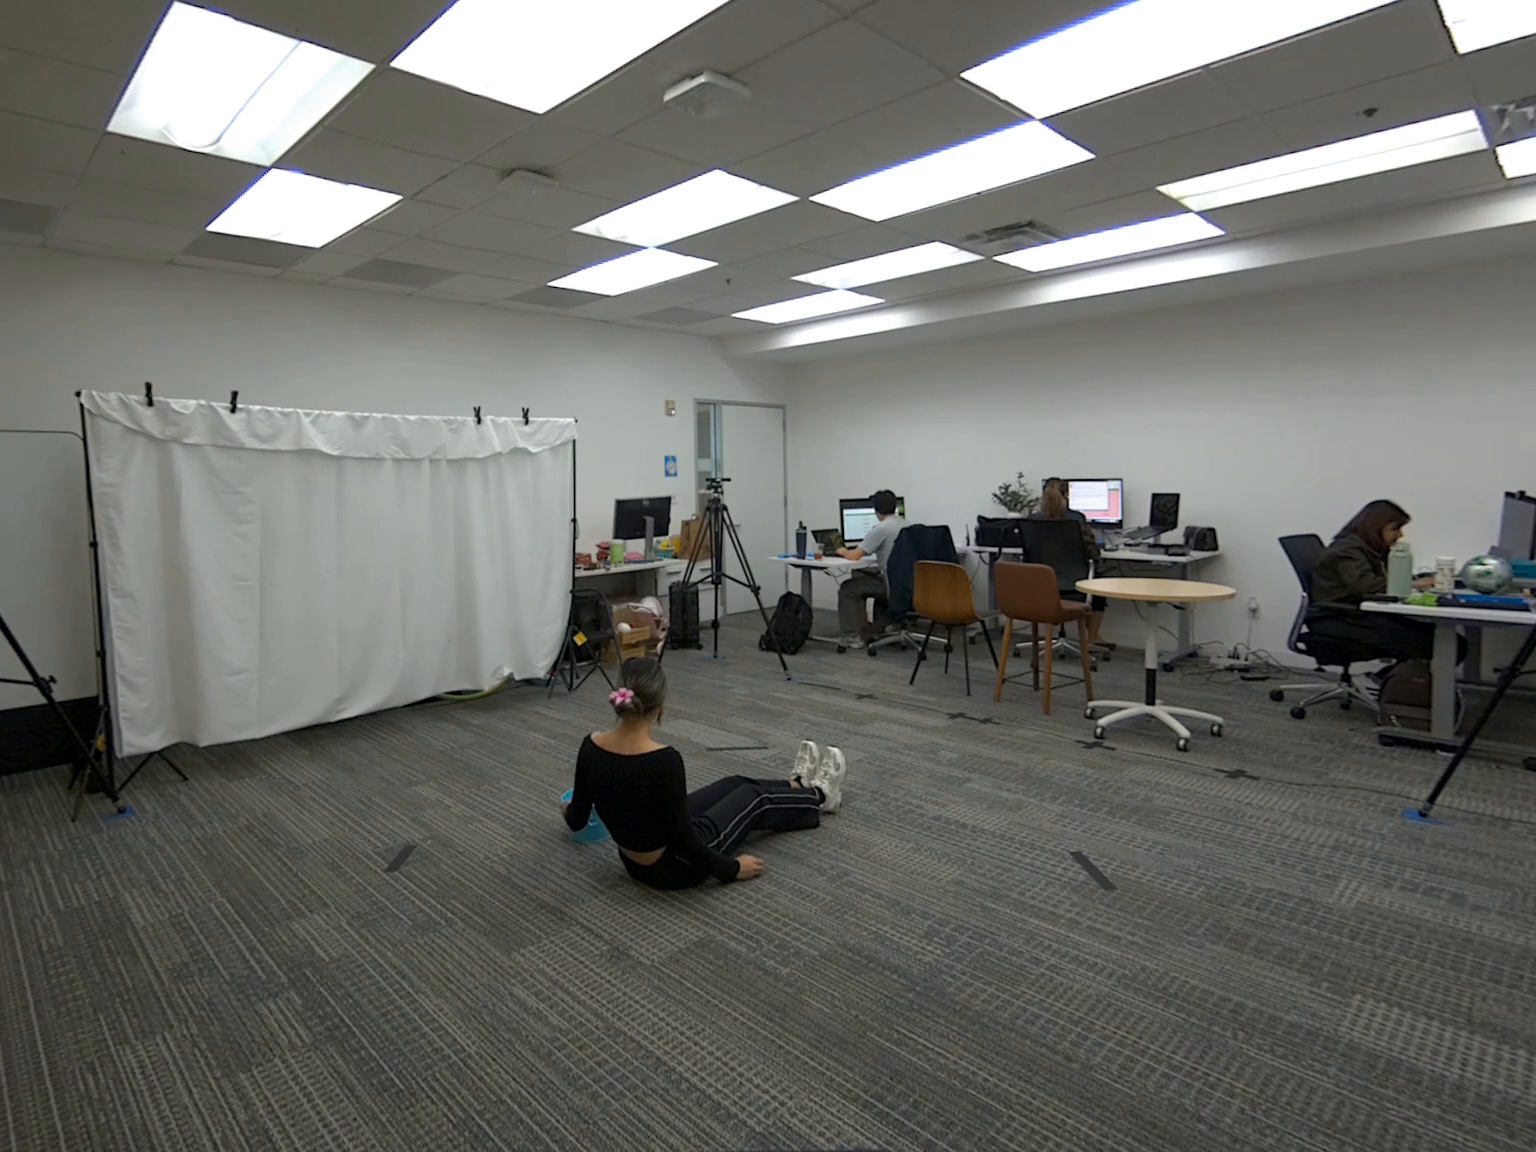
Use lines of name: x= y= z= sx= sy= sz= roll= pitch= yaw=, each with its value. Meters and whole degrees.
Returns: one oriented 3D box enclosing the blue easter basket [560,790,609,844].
blue easter basket: x=-0.687 y=0.943 z=3.395 sx=0.243 sy=0.155 sz=0.245 roll=-2 pitch=5 yaw=-2
